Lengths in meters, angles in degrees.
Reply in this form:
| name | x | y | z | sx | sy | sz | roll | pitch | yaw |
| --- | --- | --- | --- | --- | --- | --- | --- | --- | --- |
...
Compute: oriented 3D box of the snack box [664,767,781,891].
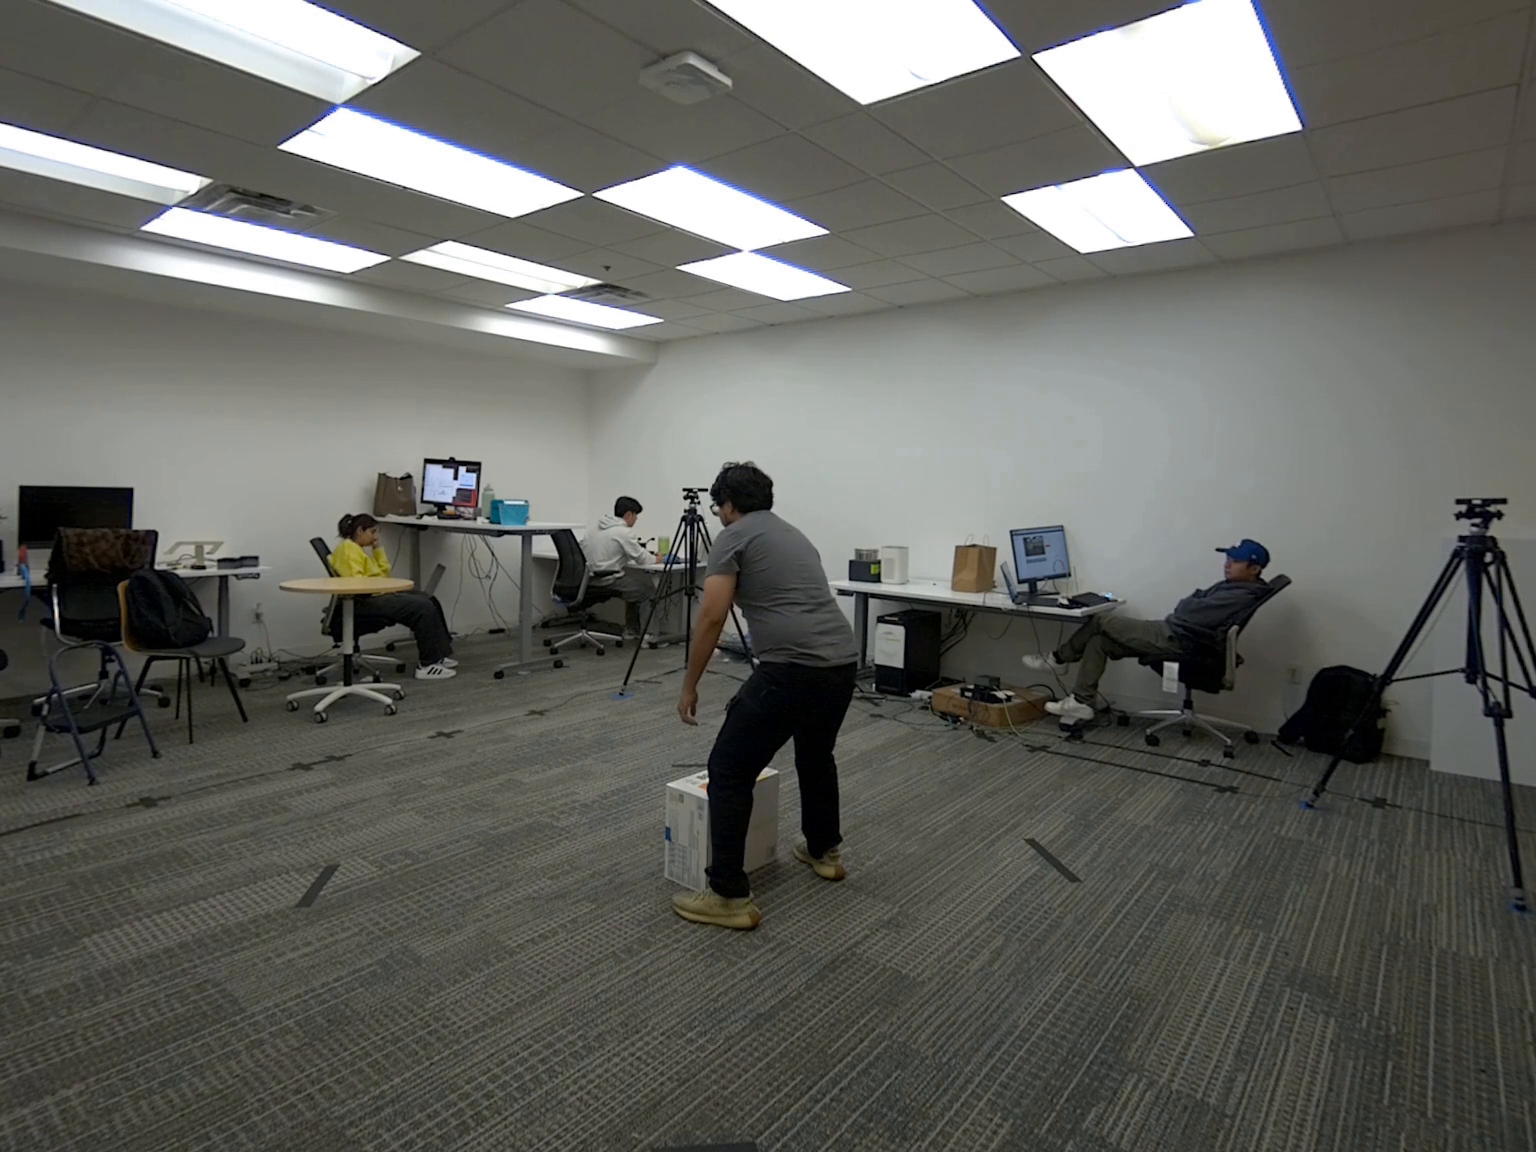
| name | x | y | z | sx | sy | sz | roll | pitch | yaw |
| --- | --- | --- | --- | --- | --- | --- | --- | --- | --- |
| snack box | -0.172 | 0.901 | 3.108 | 0.212 | 0.339 | 0.393 | 4 | 5 | 39 |
